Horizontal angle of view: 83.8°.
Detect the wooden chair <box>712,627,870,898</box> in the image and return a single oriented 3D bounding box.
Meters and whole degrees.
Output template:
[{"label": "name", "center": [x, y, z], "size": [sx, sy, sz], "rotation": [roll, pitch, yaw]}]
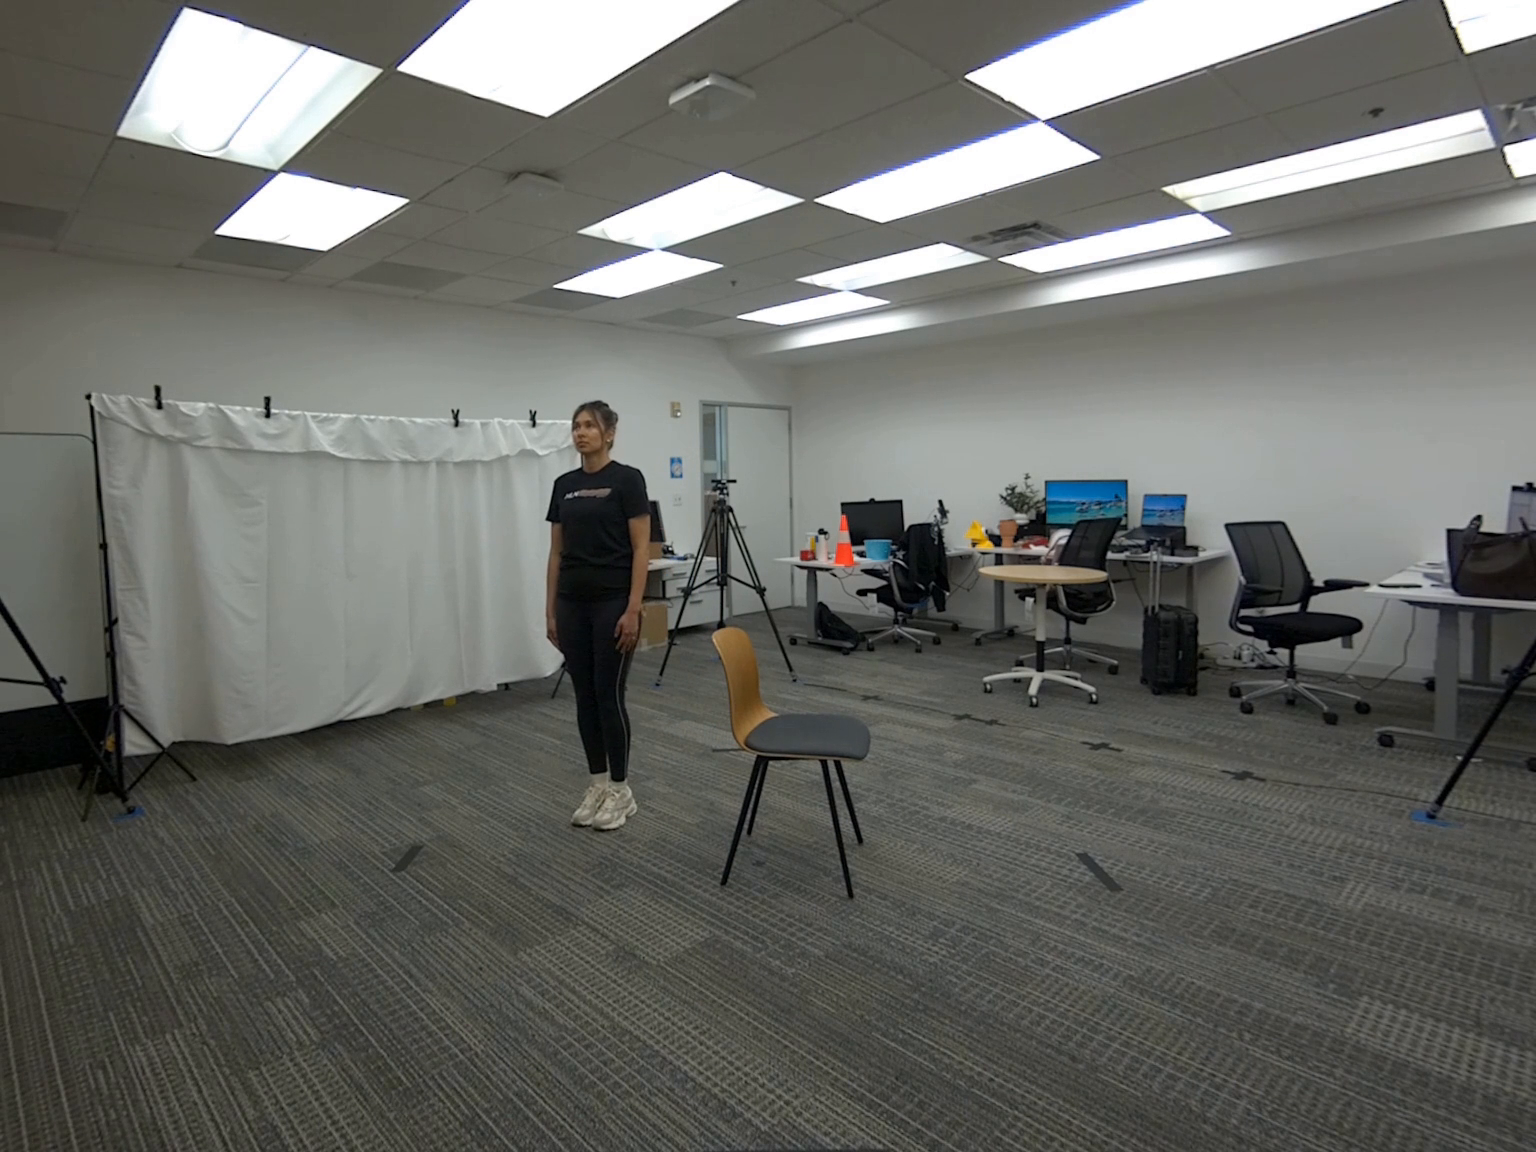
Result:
[{"label": "wooden chair", "center": [0.105, 0.620, 3.073], "size": [0.530, 0.875, 0.473], "rotation": [-4, 3, 13]}]
